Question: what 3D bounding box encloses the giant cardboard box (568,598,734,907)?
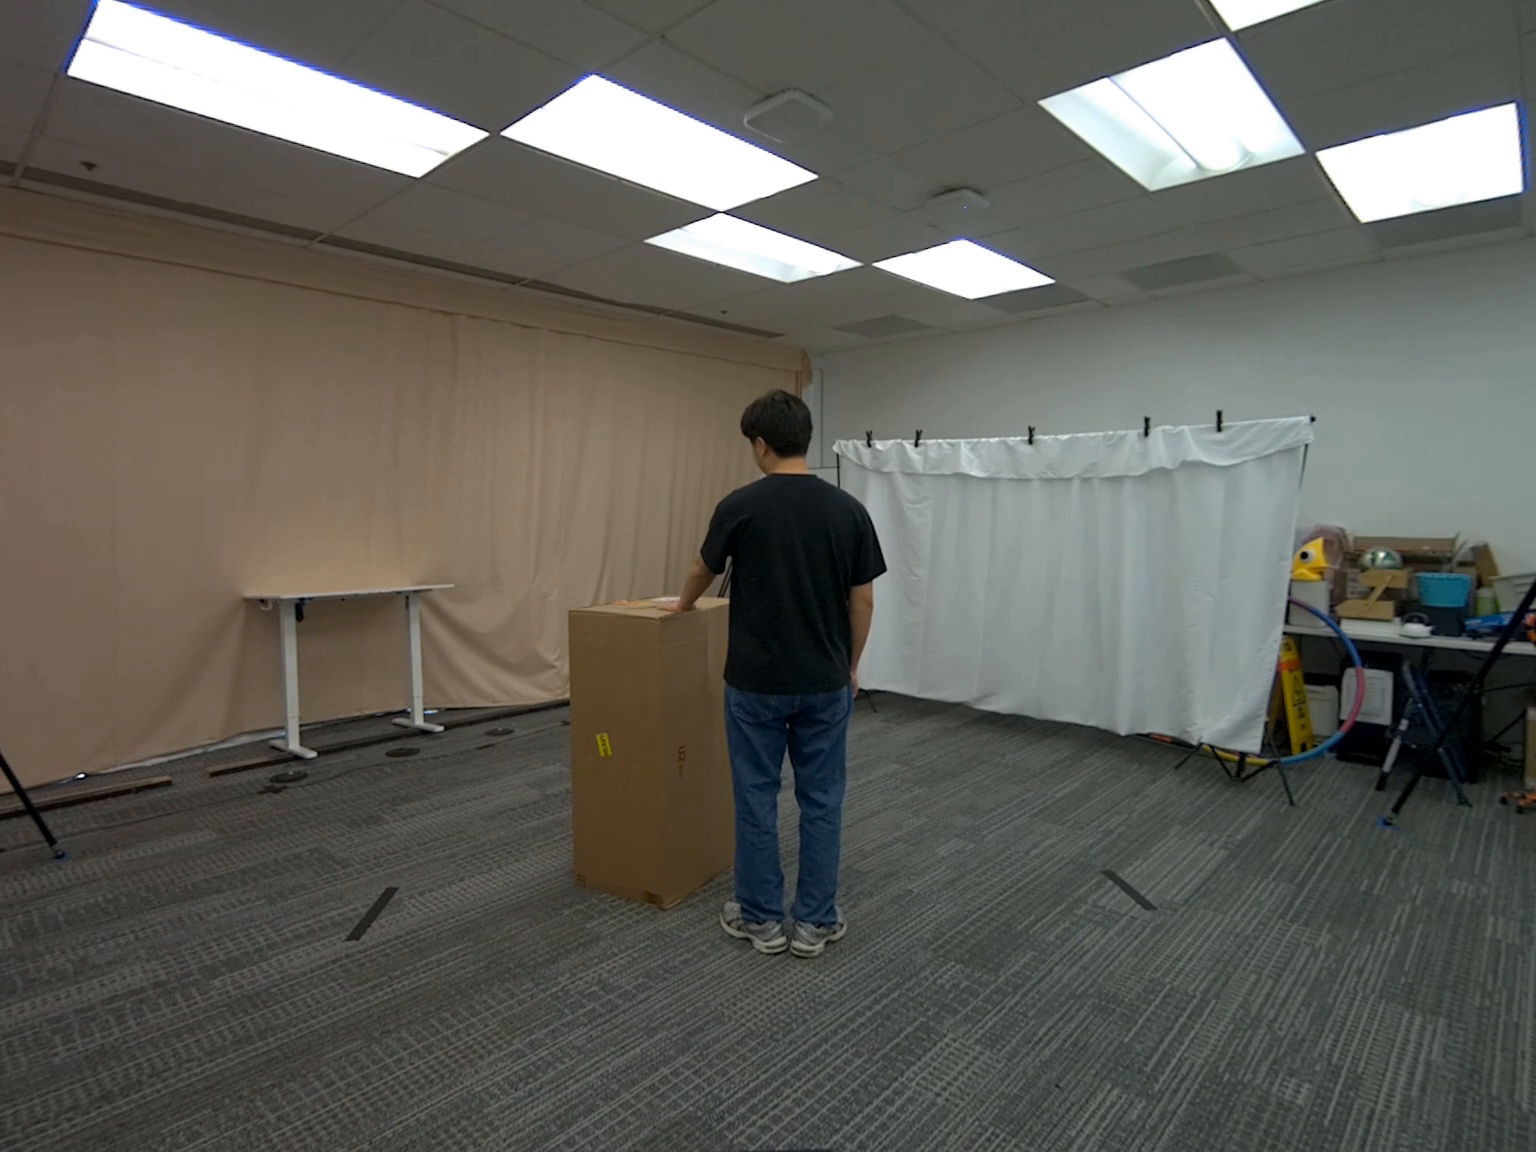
[{"bbox_3d":[-0.407,0.614,3.227,0.460,1.025,0.568,1,3,32],"label":"giant cardboard box"}]
